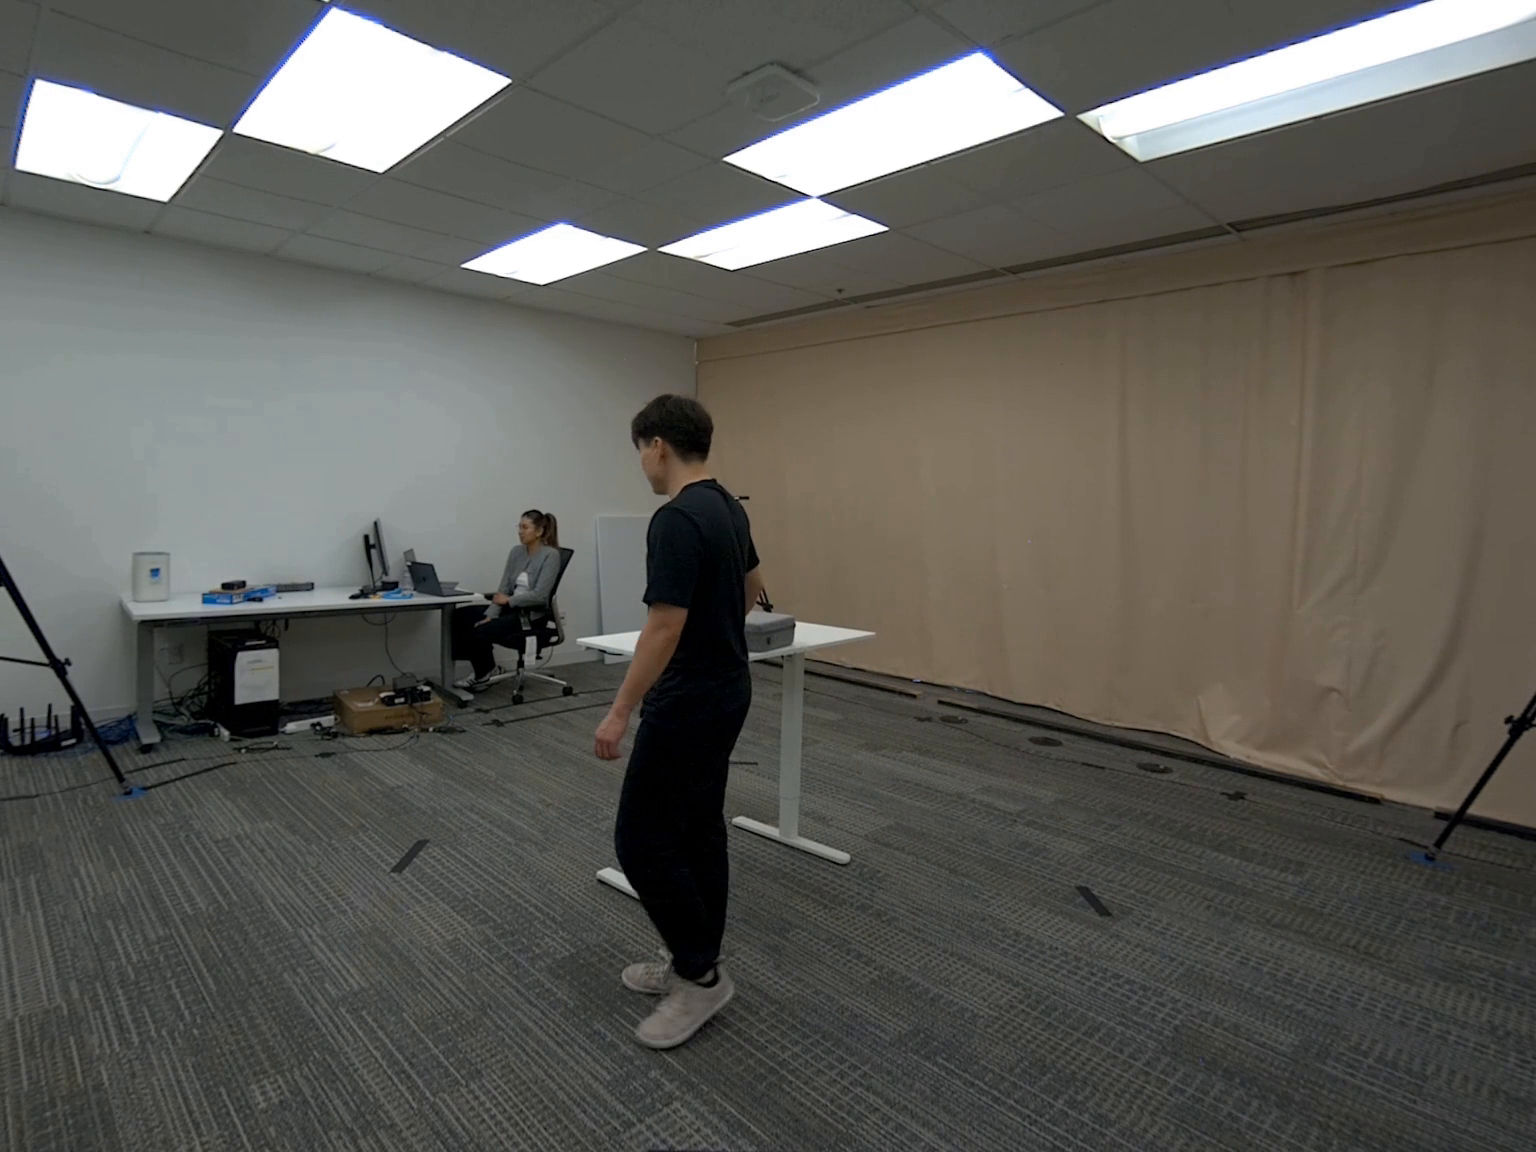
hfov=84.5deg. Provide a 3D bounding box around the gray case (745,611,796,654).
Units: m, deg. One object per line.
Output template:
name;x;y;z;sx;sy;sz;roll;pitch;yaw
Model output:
gray case;-0.071;0.187;2.920;0.263;0.104;0.255;5;7;32
